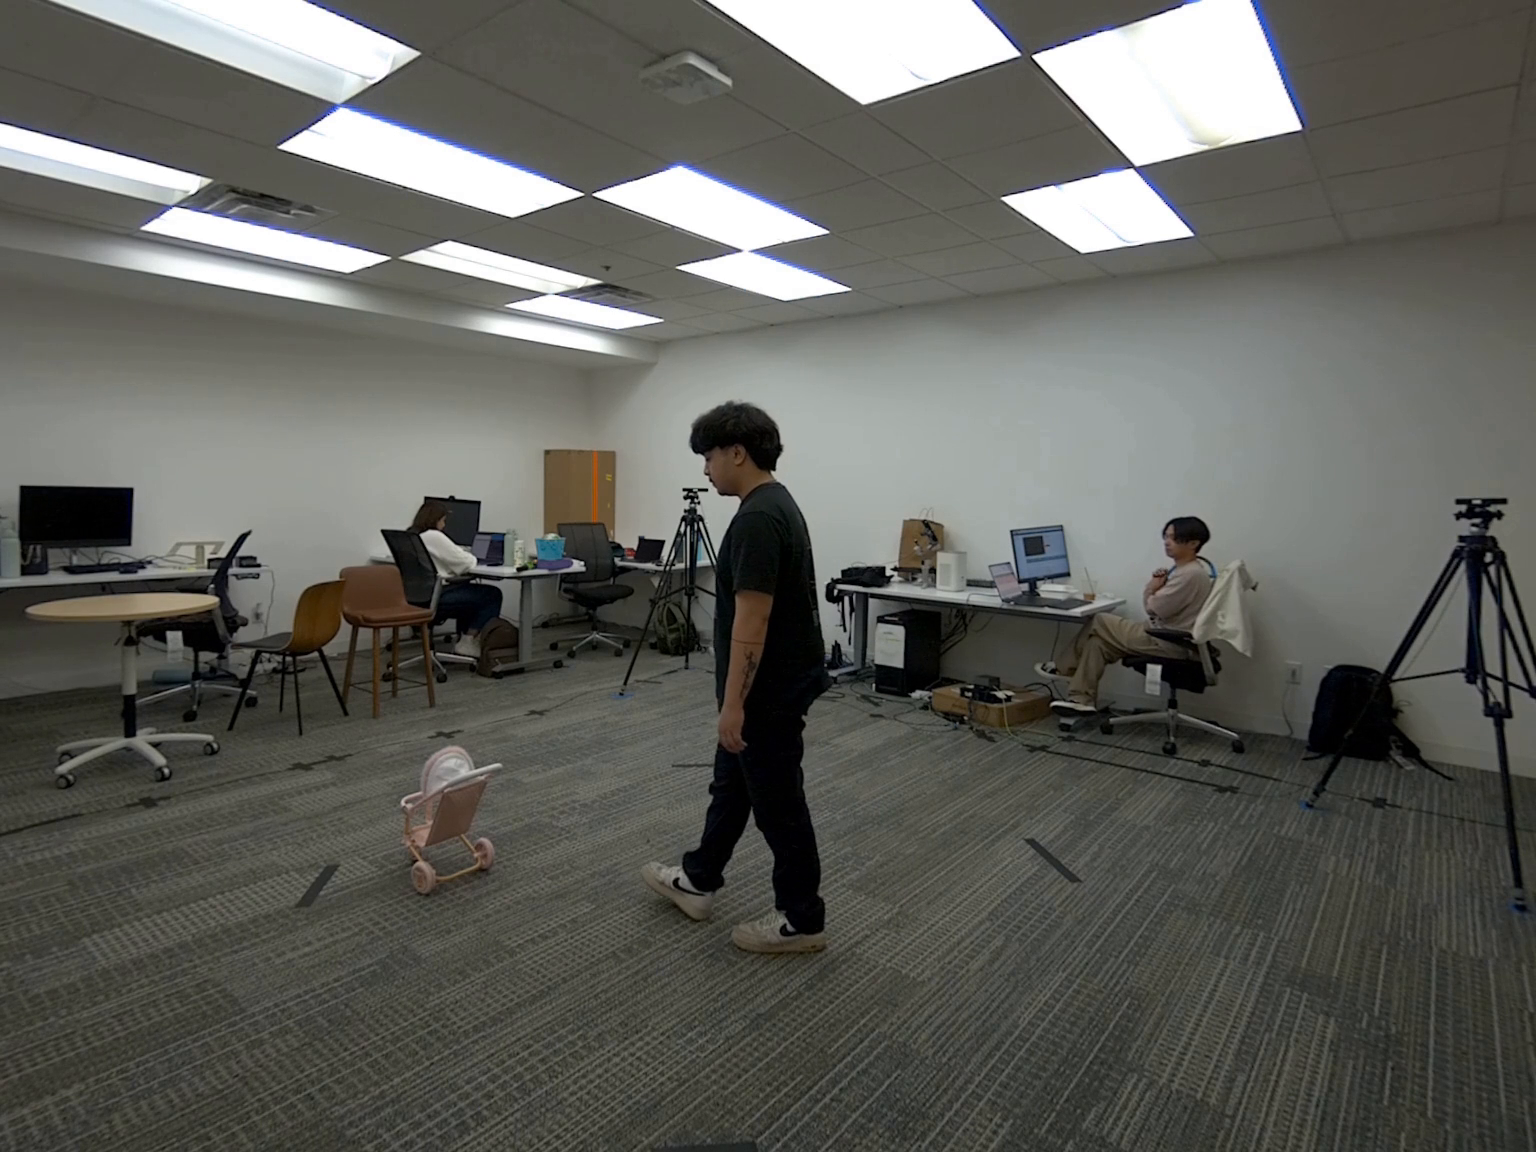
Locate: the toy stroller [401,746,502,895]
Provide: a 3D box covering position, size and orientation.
[{"bbox_3d":[-1.160,0.839,3.015,0.355,0.530,0.273,25,18,38],"label":"toy stroller"}]
